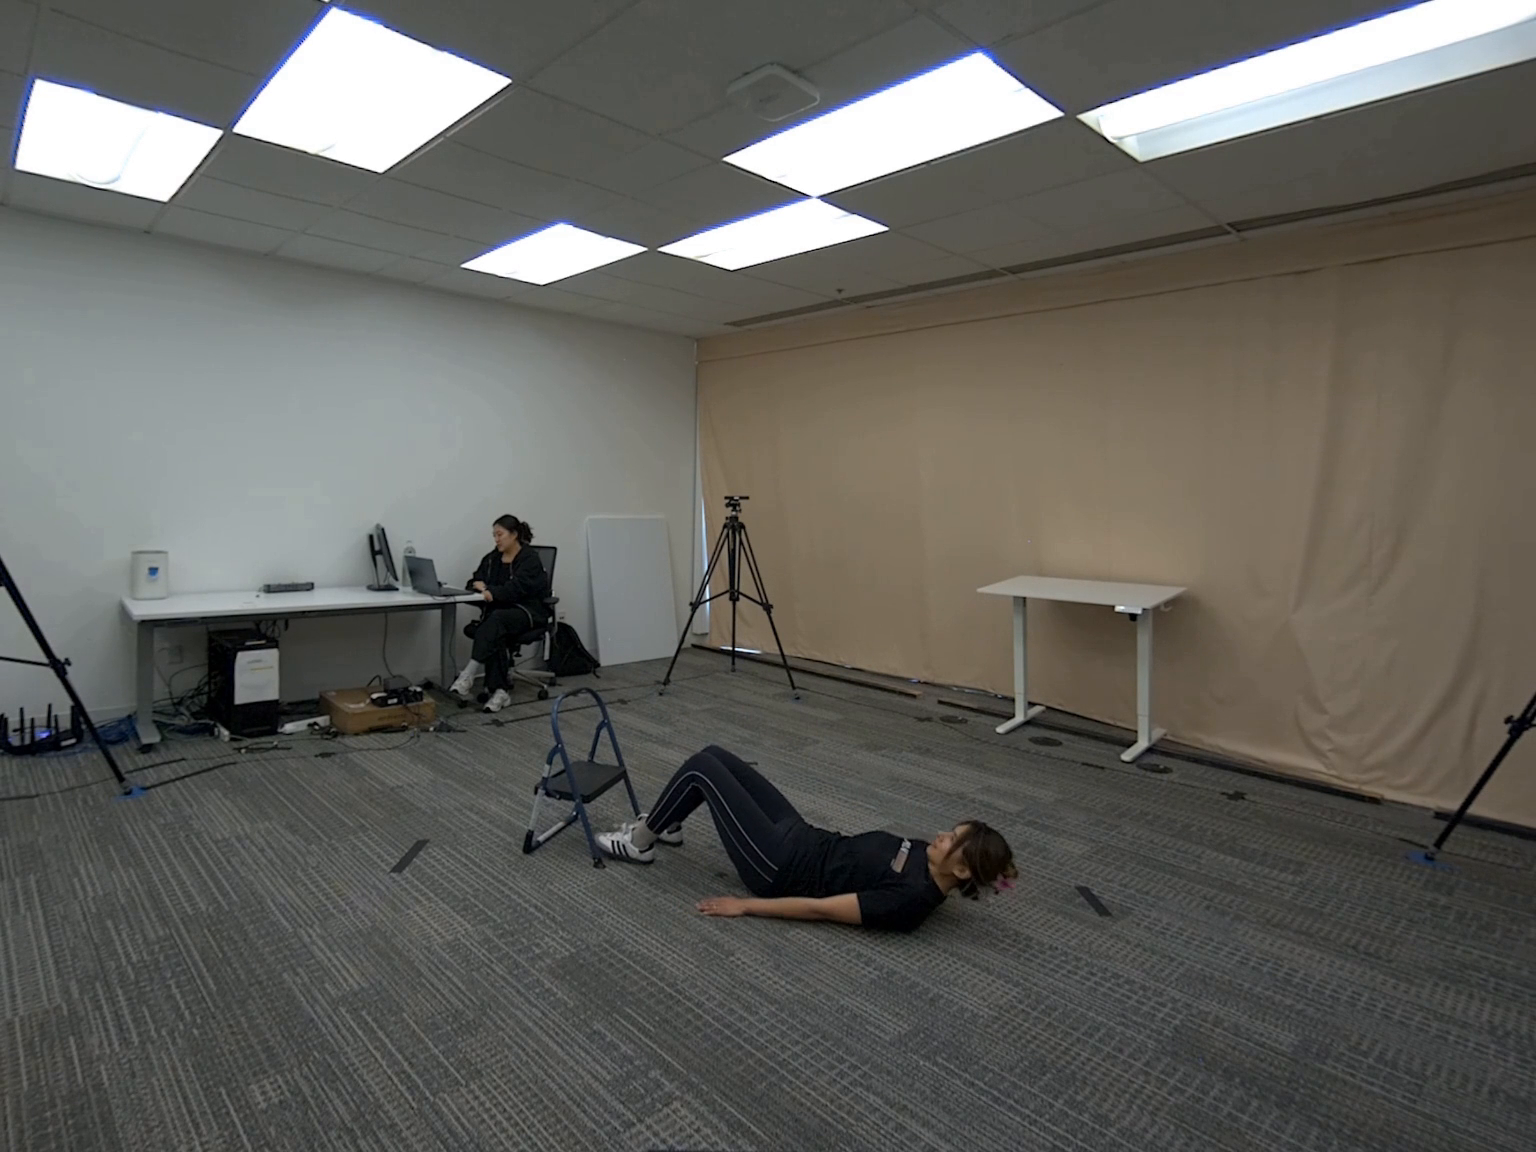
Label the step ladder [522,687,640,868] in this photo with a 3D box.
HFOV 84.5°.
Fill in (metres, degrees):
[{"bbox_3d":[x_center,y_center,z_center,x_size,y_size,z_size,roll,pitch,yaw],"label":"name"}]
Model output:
[{"bbox_3d":[-0.725,0.761,3.373,0.354,0.604,0.426,2,4,16],"label":"step ladder"}]
